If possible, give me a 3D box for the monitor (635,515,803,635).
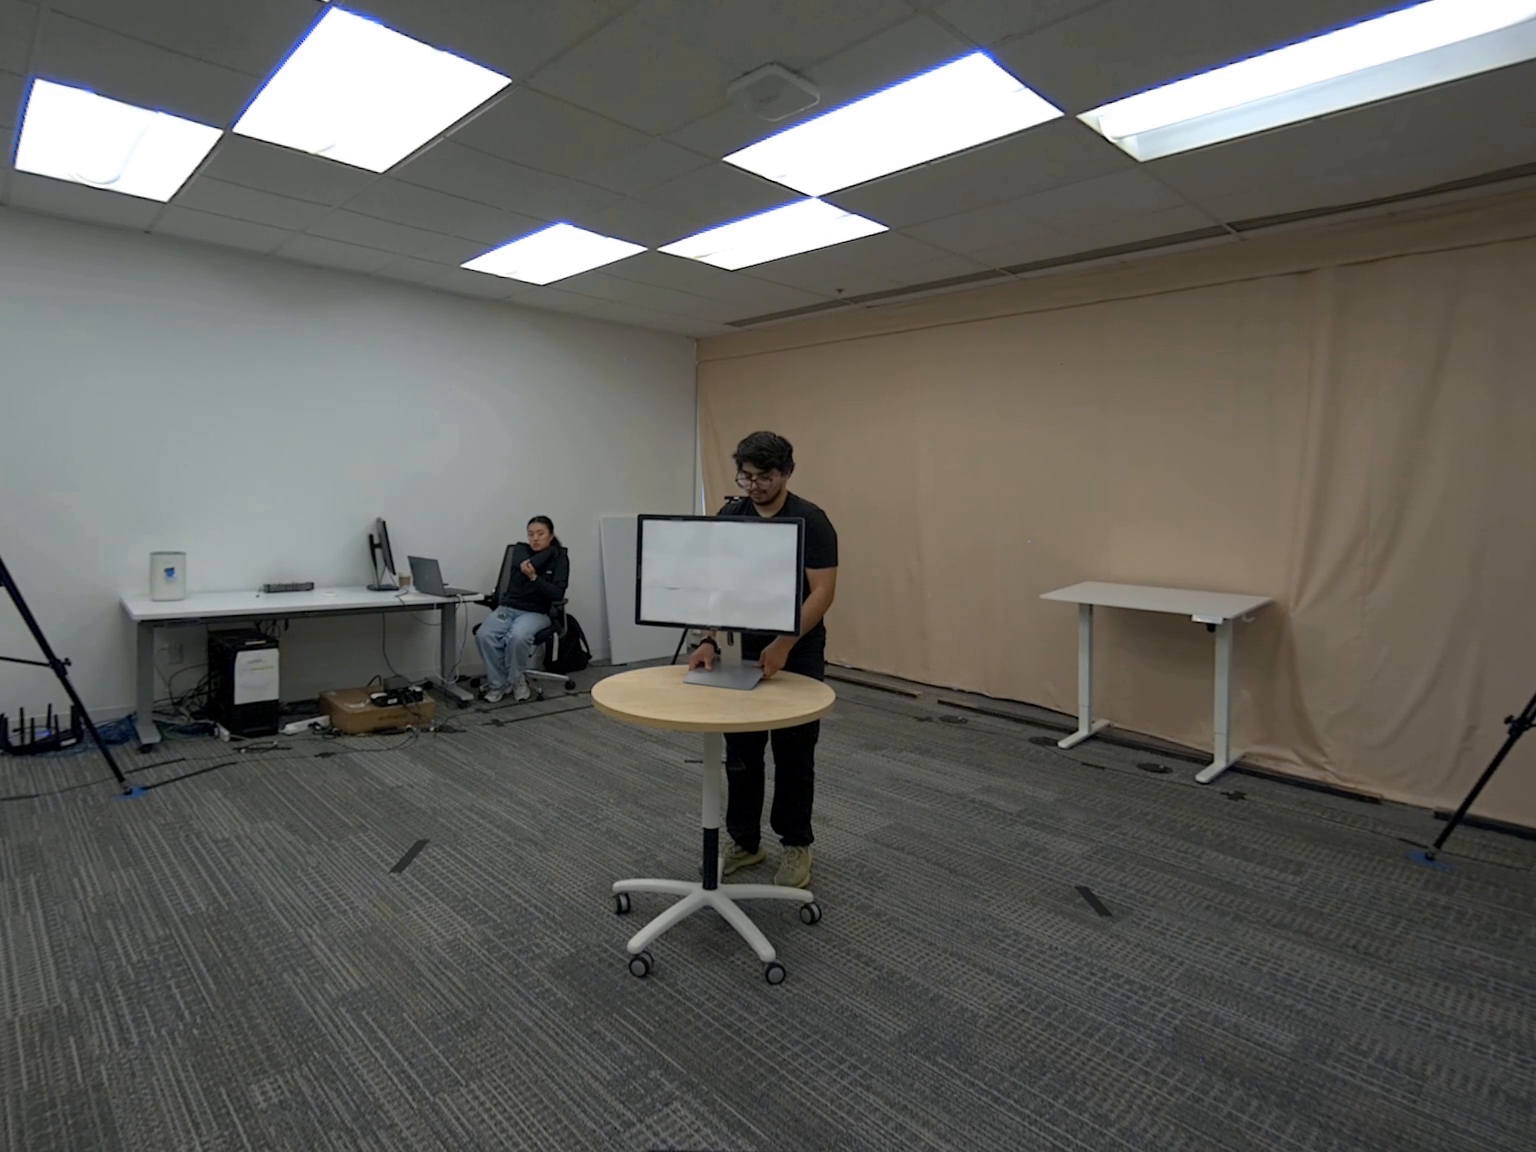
[{"bbox_3d":[-0.150,0.070,2.745,0.574,0.550,0.208,3,9,20],"label":"monitor"}]
